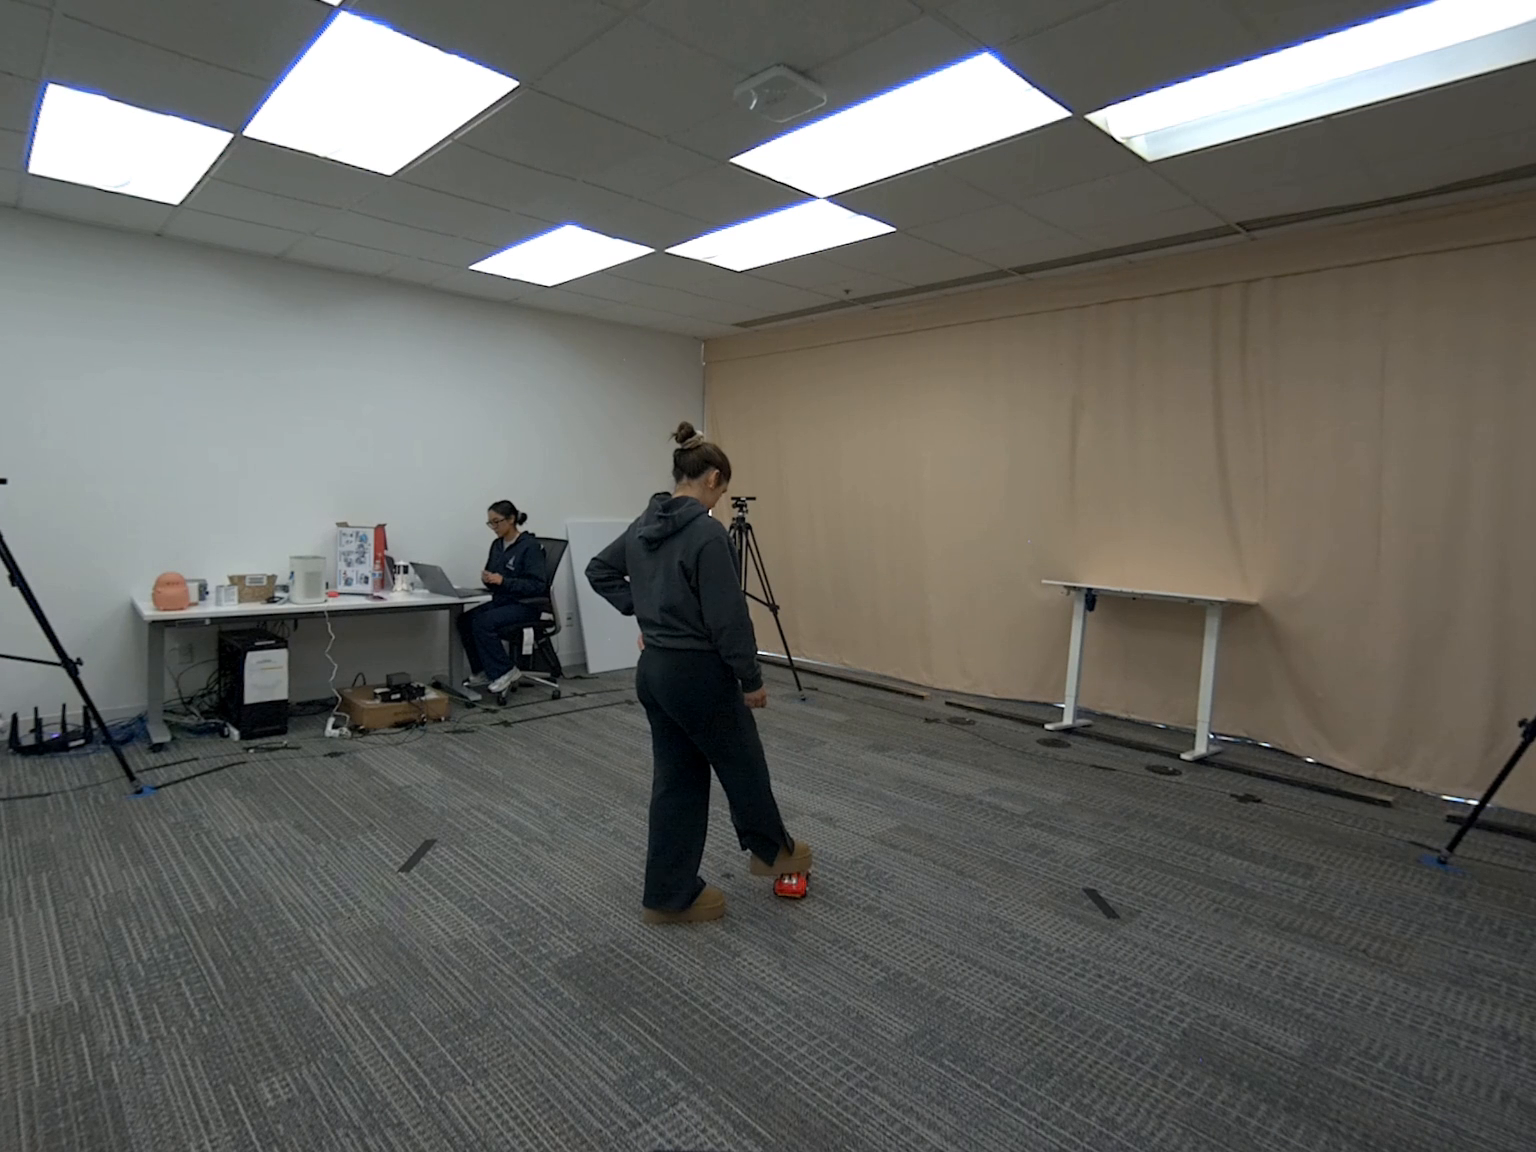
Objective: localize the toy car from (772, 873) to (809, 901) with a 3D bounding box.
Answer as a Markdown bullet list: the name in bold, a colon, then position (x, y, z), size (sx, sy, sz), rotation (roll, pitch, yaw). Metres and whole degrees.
- **toy car**: position (0.077, 1.091, 3.018), size (0.131, 0.083, 0.252), rotation (0, -6, 7)
